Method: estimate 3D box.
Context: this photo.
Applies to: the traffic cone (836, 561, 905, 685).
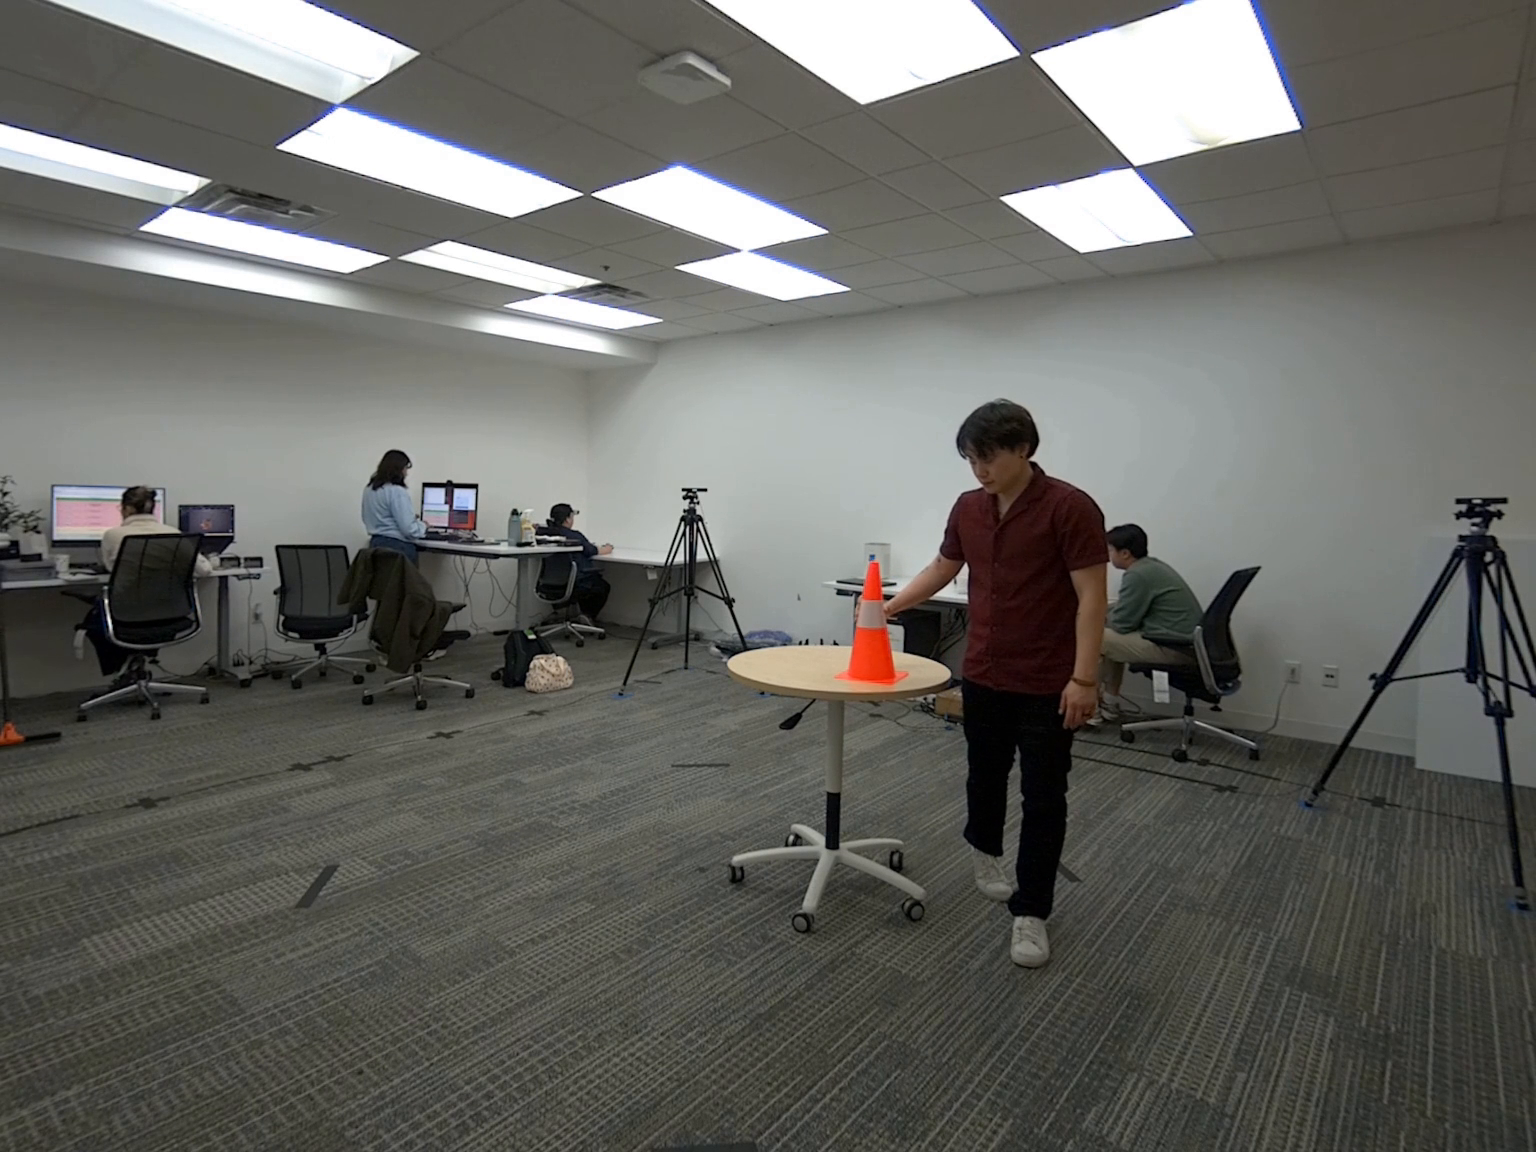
[{"bbox_3d":[0.337,0.141,2.793,0.211,0.382,0.198,3,5,28],"label":"traffic cone"}]
